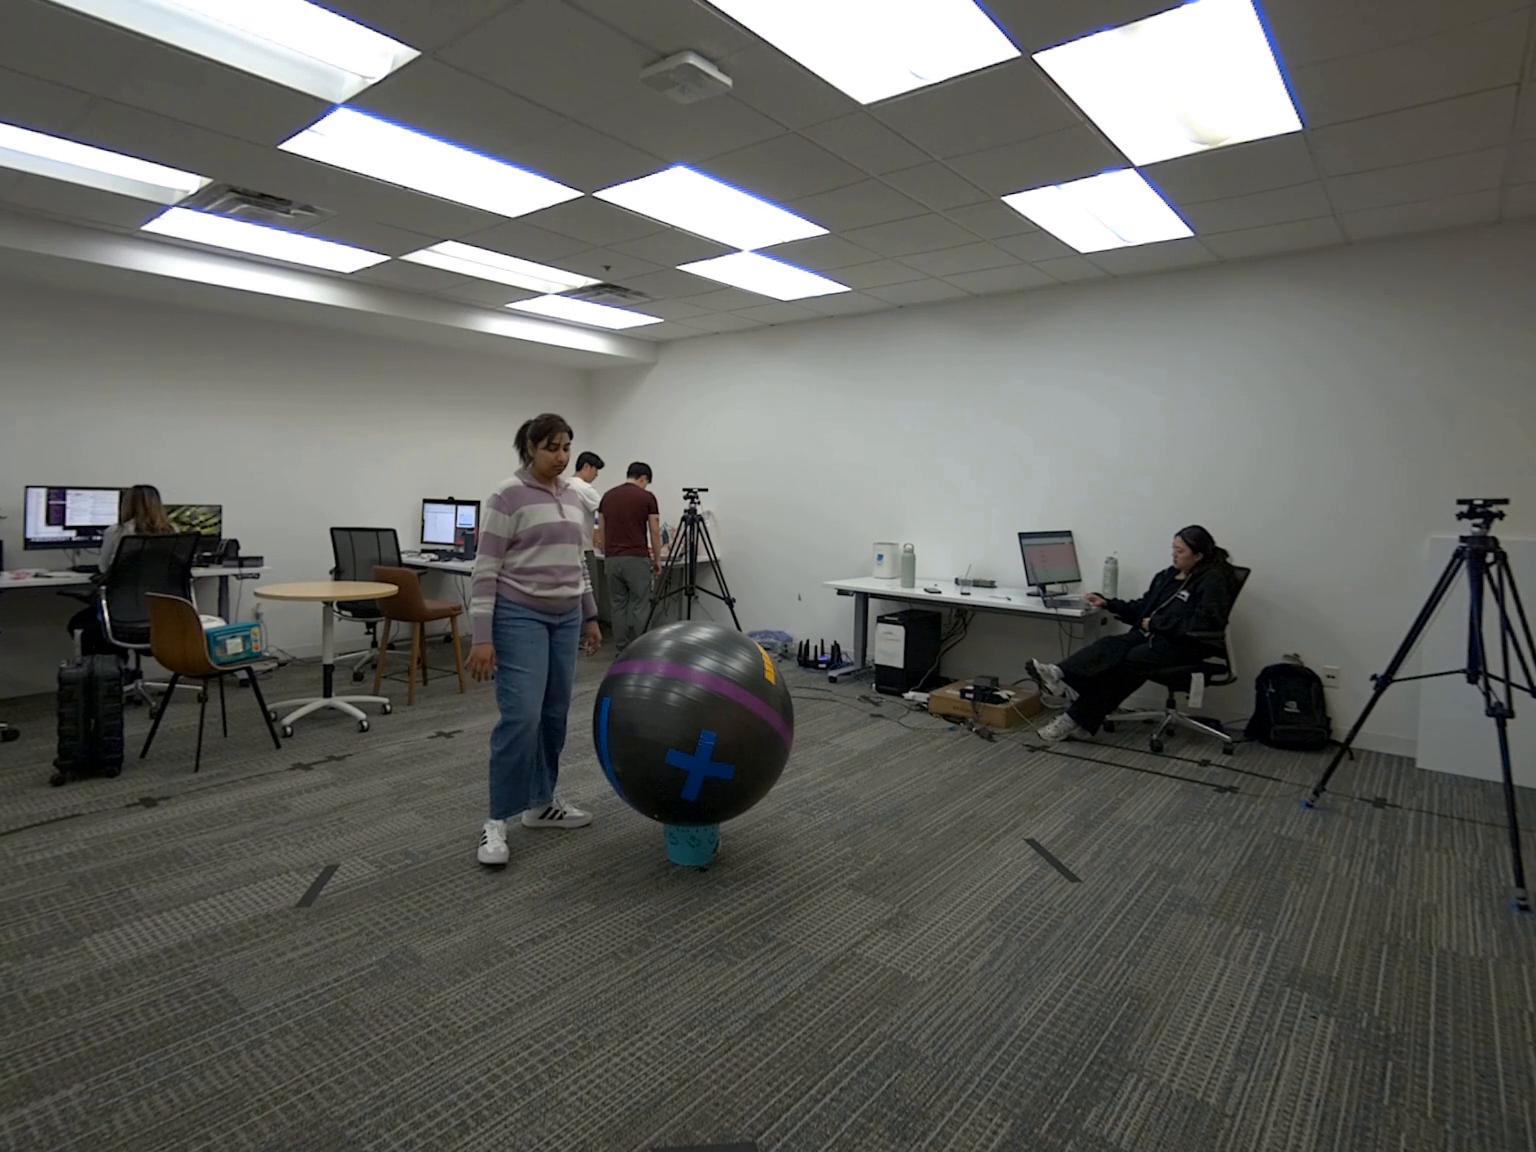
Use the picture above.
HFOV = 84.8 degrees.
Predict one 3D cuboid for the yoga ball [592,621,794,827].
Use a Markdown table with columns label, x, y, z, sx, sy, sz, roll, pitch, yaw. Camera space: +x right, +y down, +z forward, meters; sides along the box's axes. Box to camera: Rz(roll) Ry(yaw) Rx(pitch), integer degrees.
| label | x | y | z | sx | sy | sz | roll | pitch | yaw |
| --- | --- | --- | --- | --- | --- | --- | --- | --- | --- |
| yoga ball | -0.293 | 0.550 | 3.205 | 0.757 | 0.756 | 0.762 | 1 | 4 | -2 |
